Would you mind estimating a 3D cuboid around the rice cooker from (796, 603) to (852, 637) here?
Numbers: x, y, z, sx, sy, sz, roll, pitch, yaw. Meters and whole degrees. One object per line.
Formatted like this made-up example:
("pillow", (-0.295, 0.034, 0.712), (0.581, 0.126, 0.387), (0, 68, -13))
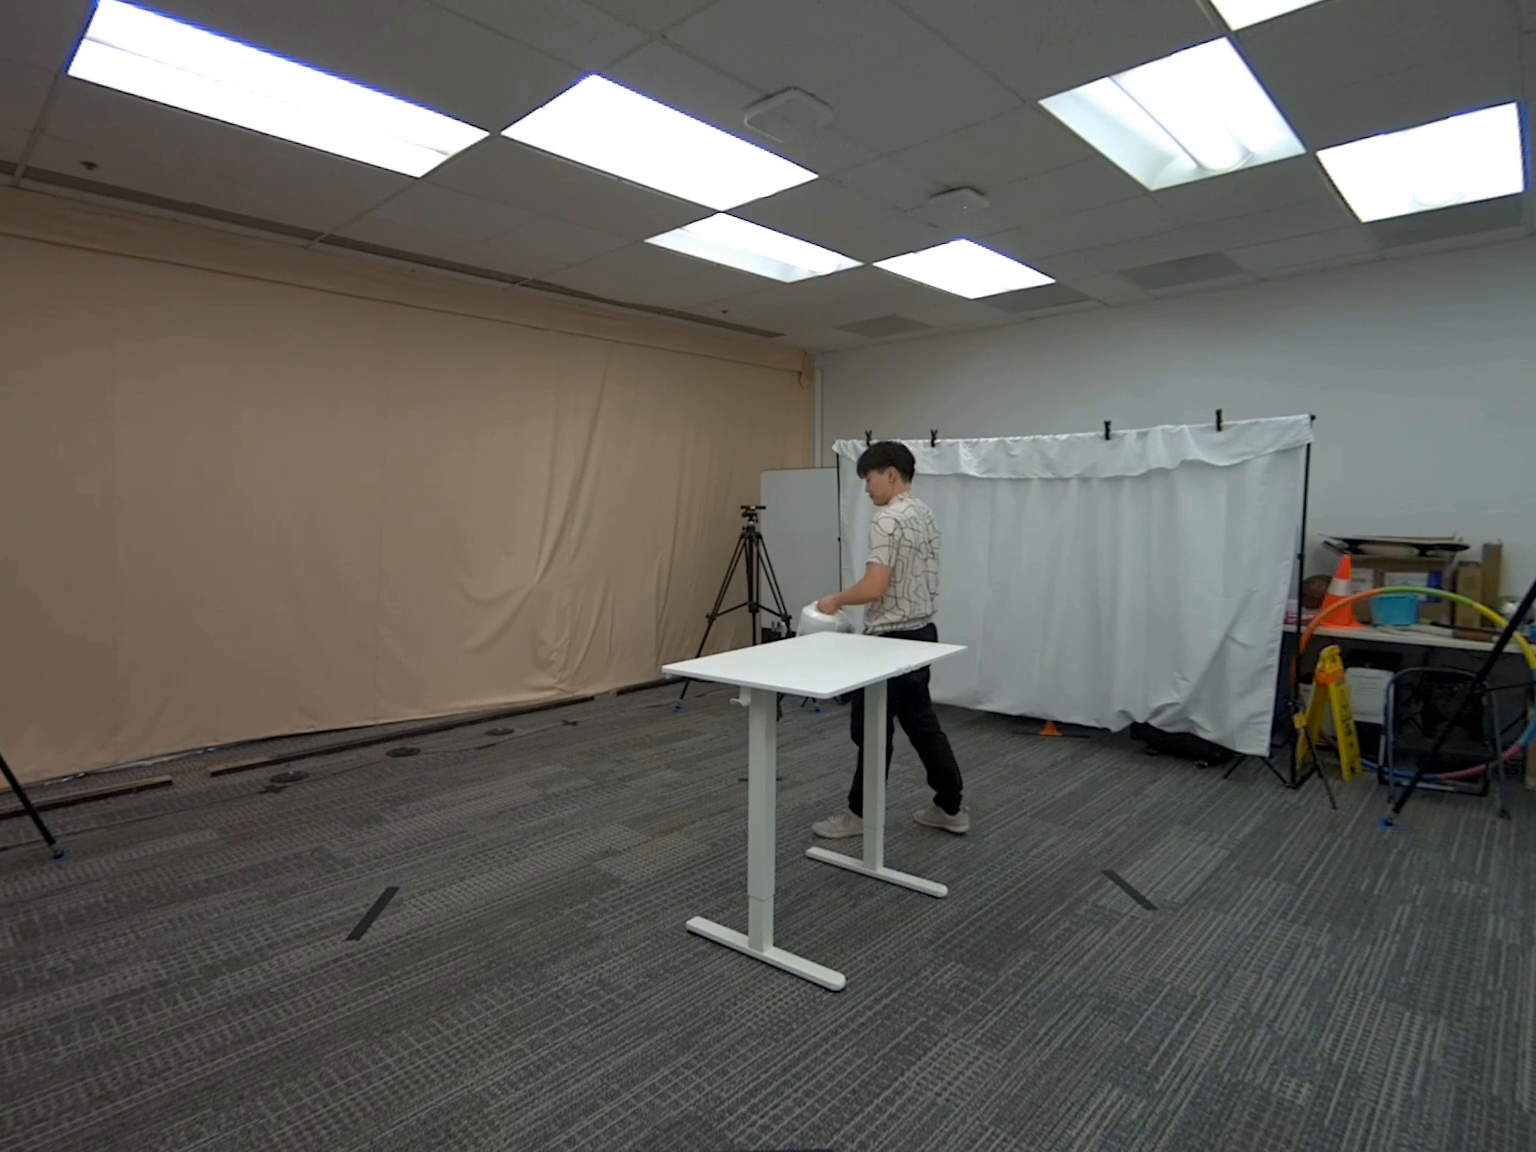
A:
("rice cooker", (0.244, 0.228, 3.646), (0.211, 0.231, 0.229), (-2, 18, -41))
